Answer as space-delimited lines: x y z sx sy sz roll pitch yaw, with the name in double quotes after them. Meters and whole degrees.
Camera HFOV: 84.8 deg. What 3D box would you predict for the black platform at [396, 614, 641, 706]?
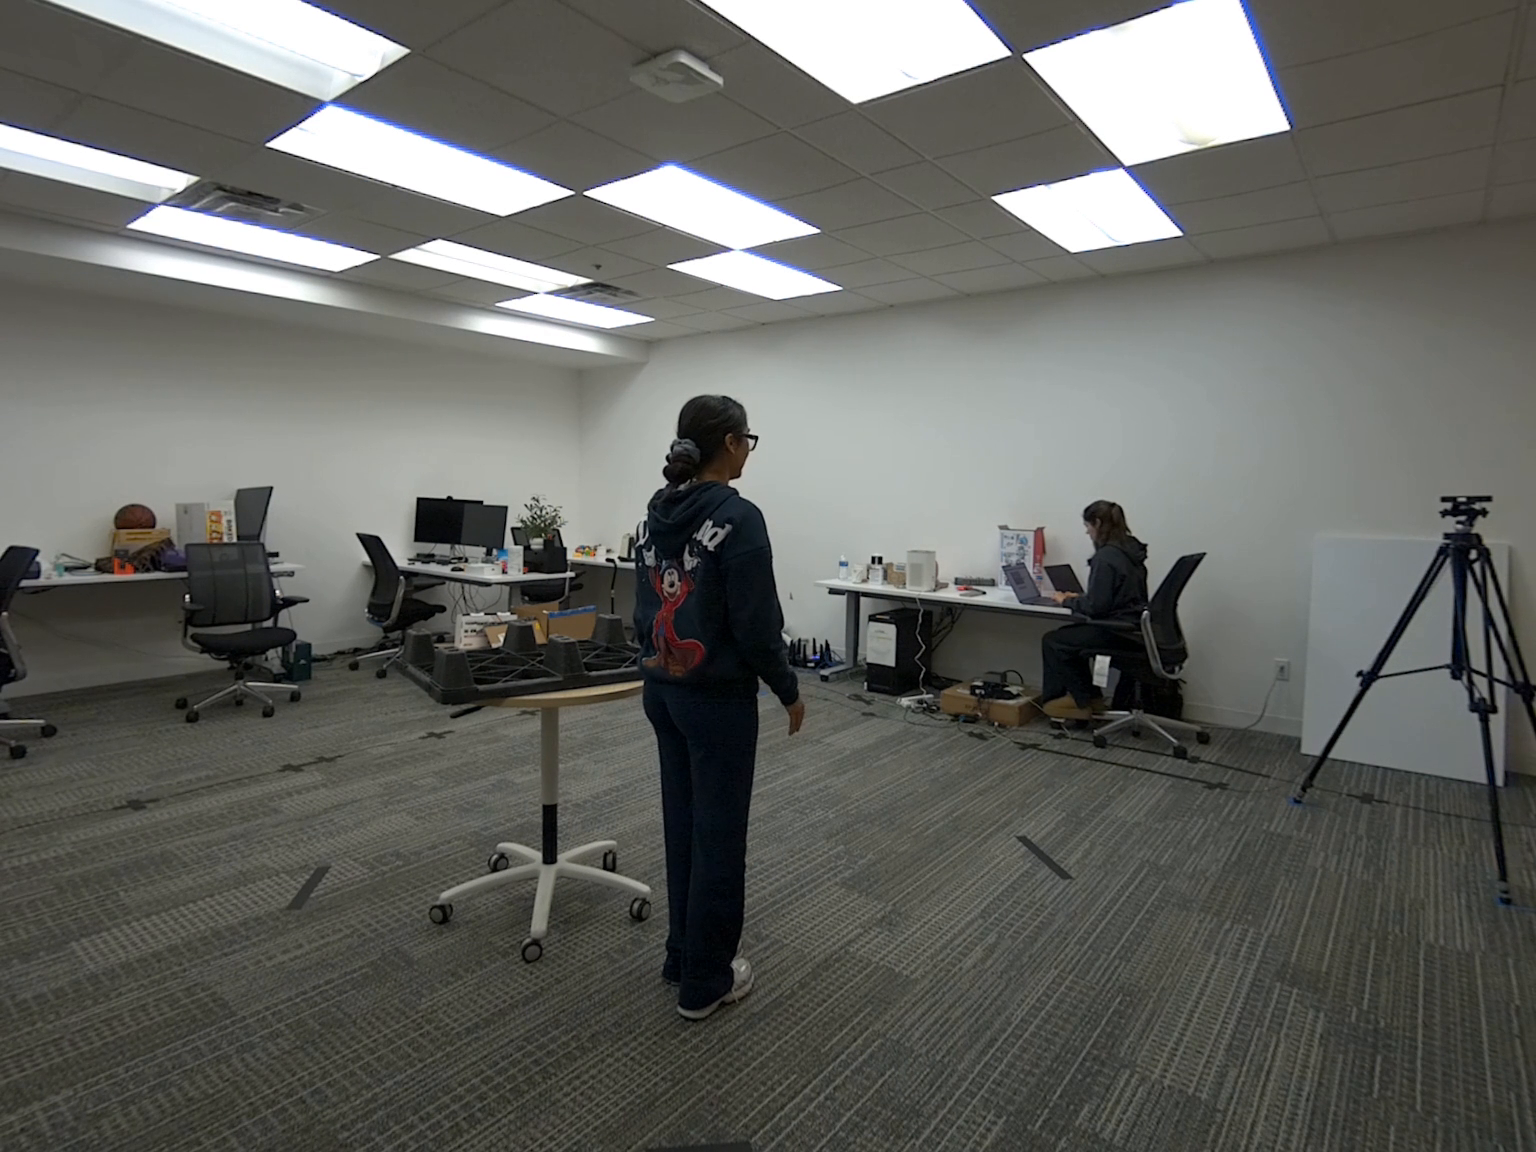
-0.756 0.245 2.789 0.783 0.143 0.625 -3 7 -35 "black platform"
